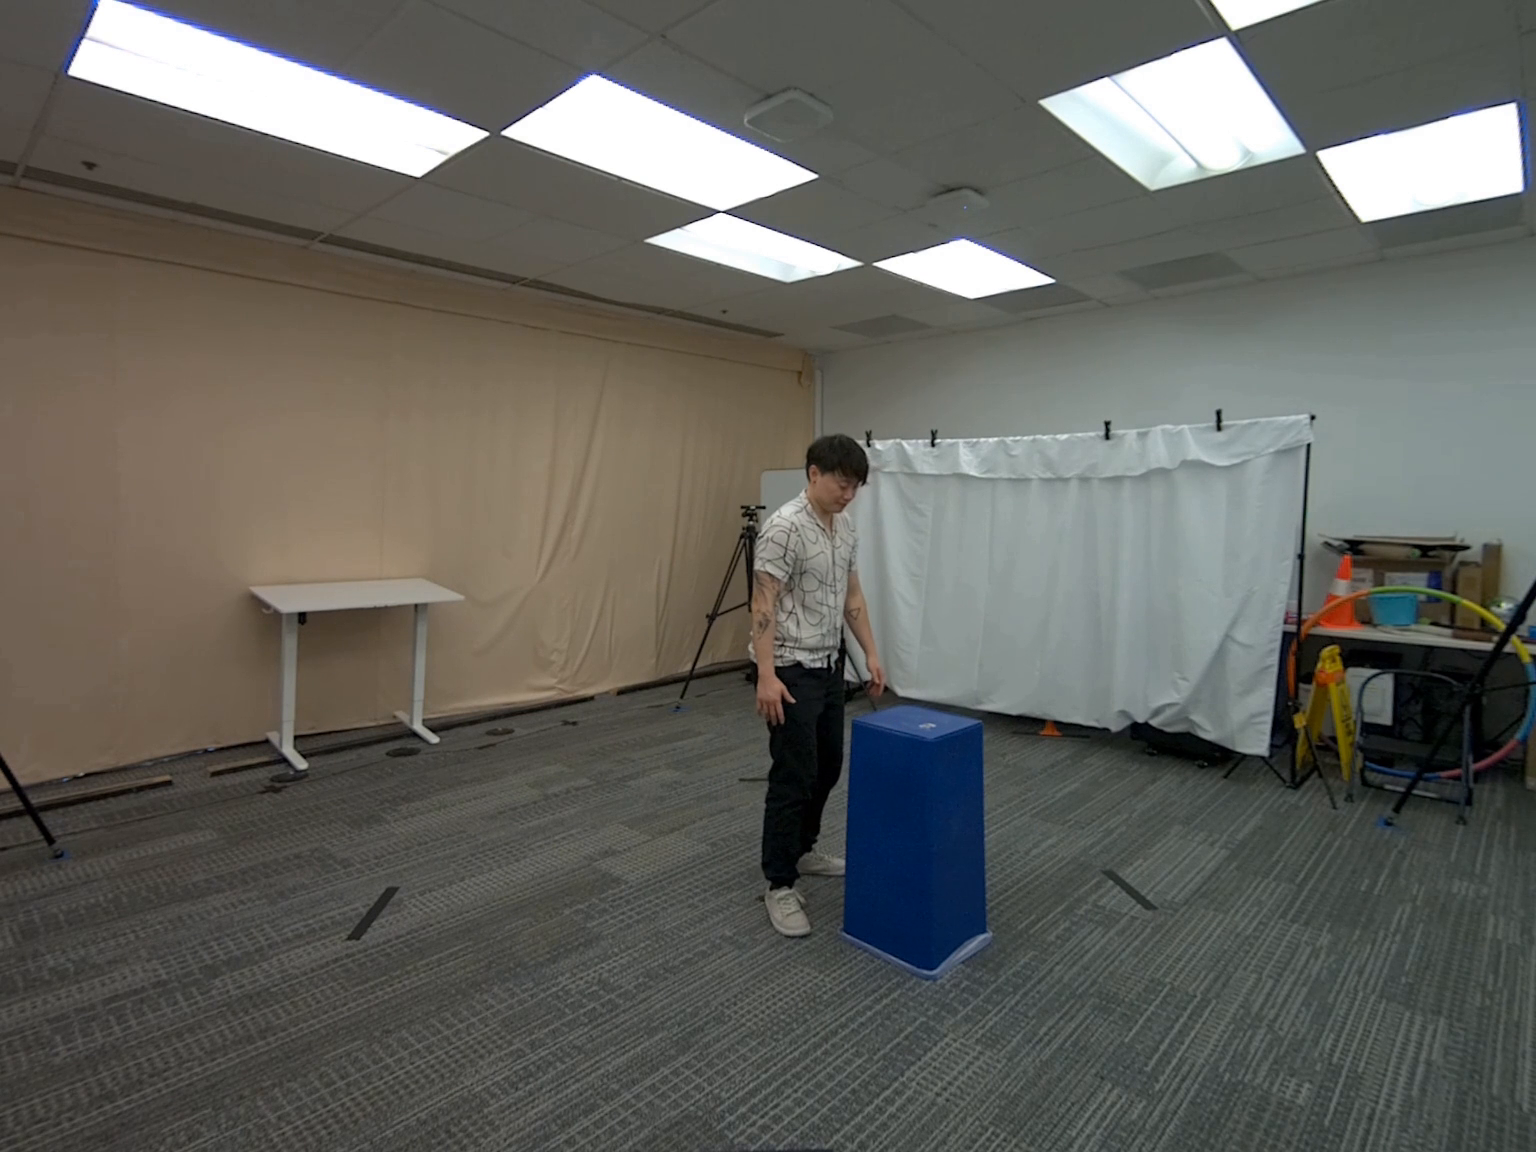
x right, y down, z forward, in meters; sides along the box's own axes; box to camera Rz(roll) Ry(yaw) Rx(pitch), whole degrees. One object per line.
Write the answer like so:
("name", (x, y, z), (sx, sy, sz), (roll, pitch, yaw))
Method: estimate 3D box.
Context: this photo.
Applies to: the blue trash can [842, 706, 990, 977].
("blue trash can", (0.490, 0.811, 2.691), (0.362, 0.712, 0.391), (-3, 5, -45))
